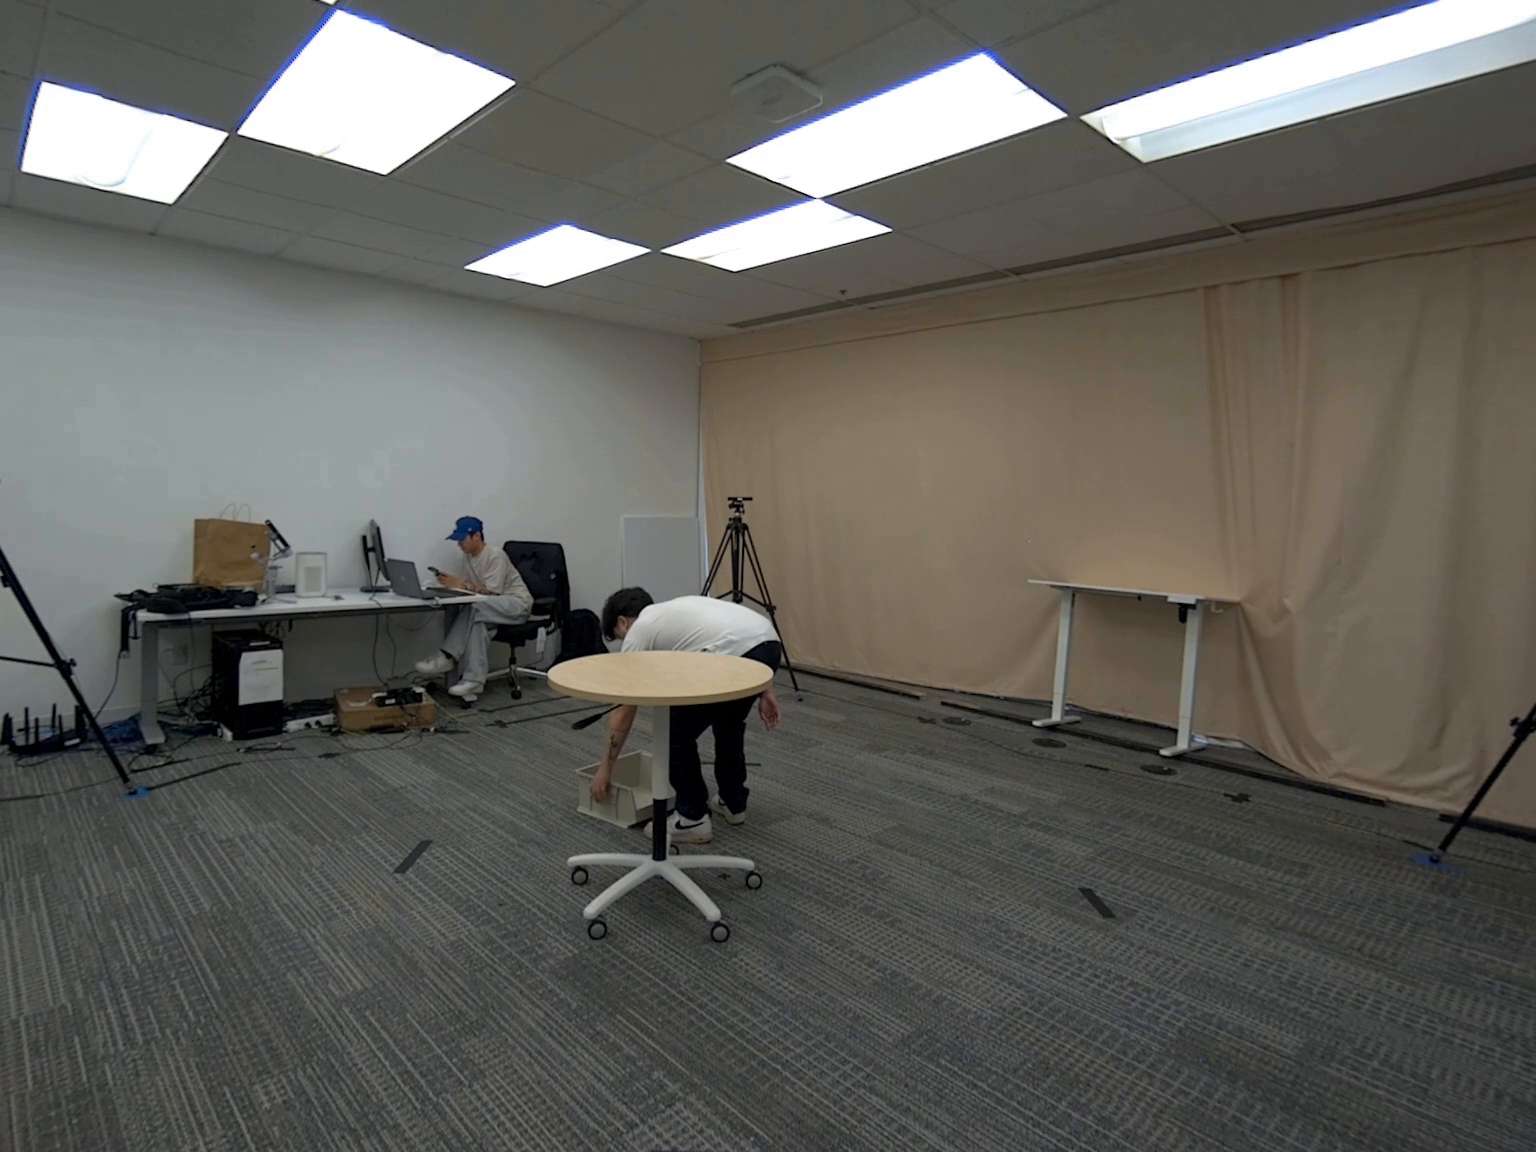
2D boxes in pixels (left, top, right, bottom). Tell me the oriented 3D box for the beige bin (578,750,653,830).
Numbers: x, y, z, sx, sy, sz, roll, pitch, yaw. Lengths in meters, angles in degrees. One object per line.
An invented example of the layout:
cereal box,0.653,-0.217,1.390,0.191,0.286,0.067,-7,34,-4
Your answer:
beige bin,-0.592,0.951,3.770,0.386,0.188,0.413,5,6,37
